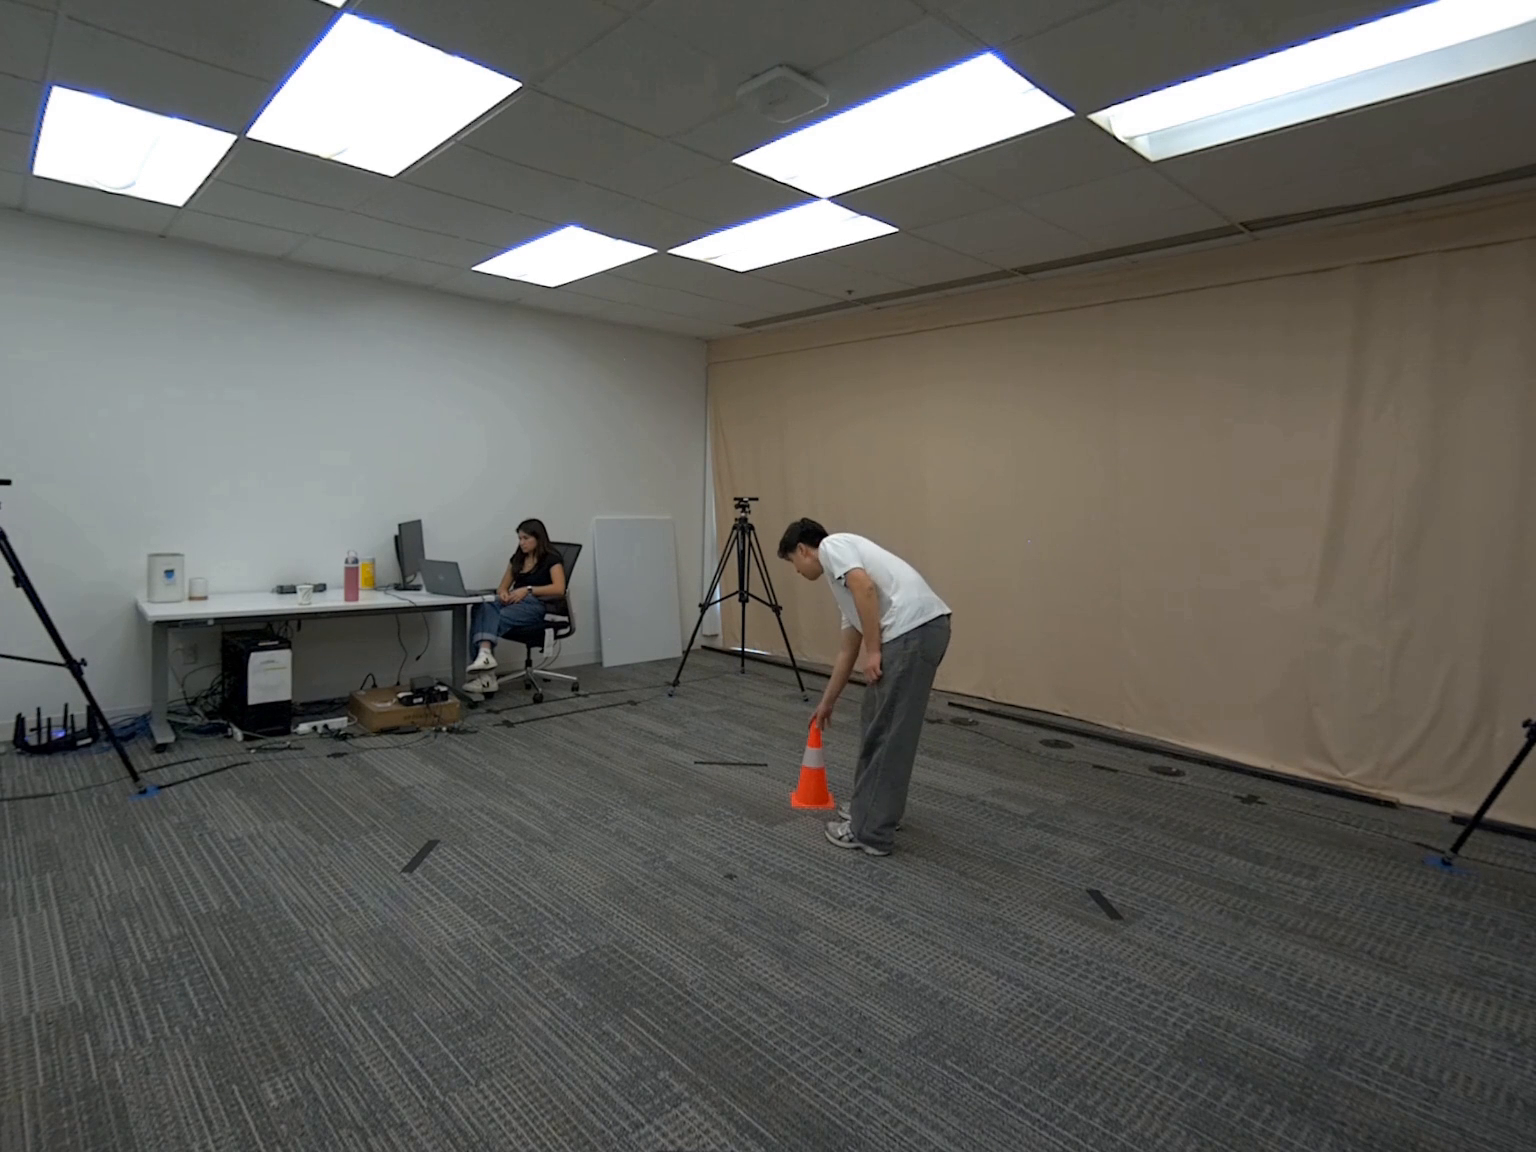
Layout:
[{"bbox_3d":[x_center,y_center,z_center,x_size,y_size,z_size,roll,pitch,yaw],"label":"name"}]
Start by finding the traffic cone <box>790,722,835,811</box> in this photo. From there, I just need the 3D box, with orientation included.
[{"bbox_3d":[0.200,0.855,3.929,0.203,0.383,0.205,4,2,-1],"label":"traffic cone"}]
